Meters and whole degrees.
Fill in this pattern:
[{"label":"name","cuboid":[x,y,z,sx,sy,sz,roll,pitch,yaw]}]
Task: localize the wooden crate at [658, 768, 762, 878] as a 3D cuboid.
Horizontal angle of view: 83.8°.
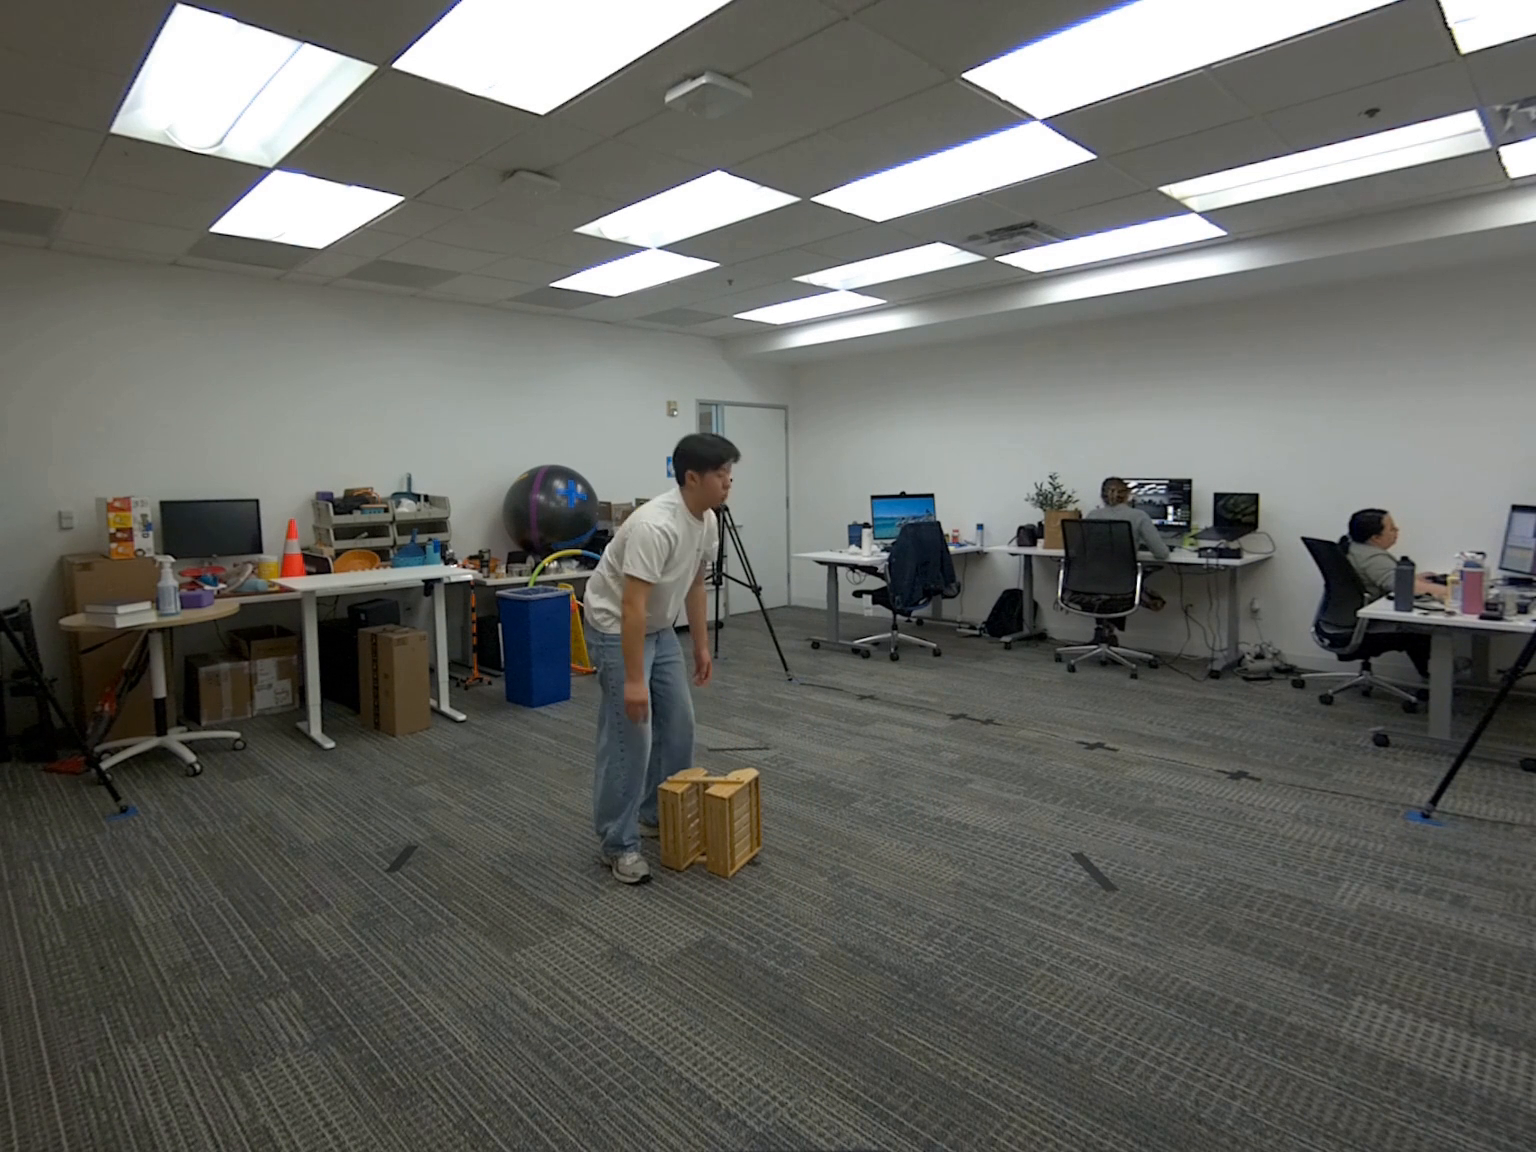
[{"label":"wooden crate","cuboid":[-0.209,0.874,3.122,0.281,0.321,0.296,6,12,32]}]
